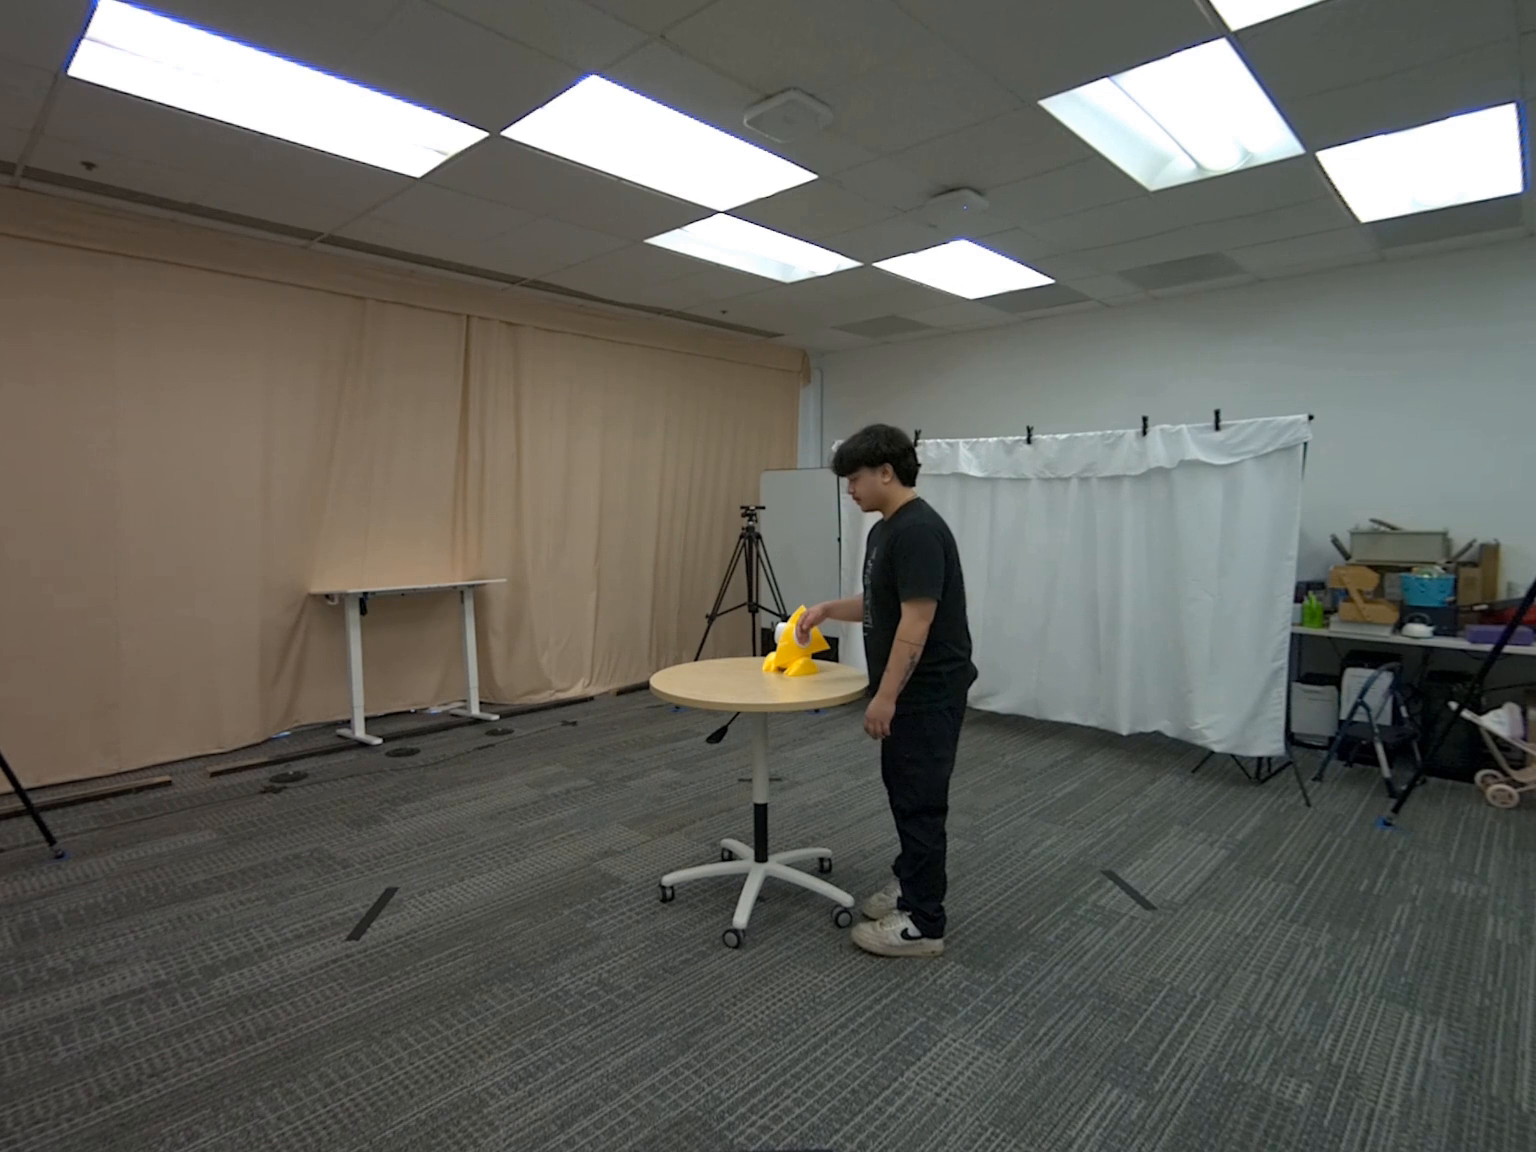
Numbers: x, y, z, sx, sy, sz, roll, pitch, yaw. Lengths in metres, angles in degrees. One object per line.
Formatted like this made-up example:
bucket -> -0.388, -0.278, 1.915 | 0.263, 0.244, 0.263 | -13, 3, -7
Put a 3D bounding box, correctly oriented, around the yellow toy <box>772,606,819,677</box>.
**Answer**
yellow toy -> 0.089, 0.227, 3.055 | 0.187, 0.230, 0.212 | -5, 7, -44
